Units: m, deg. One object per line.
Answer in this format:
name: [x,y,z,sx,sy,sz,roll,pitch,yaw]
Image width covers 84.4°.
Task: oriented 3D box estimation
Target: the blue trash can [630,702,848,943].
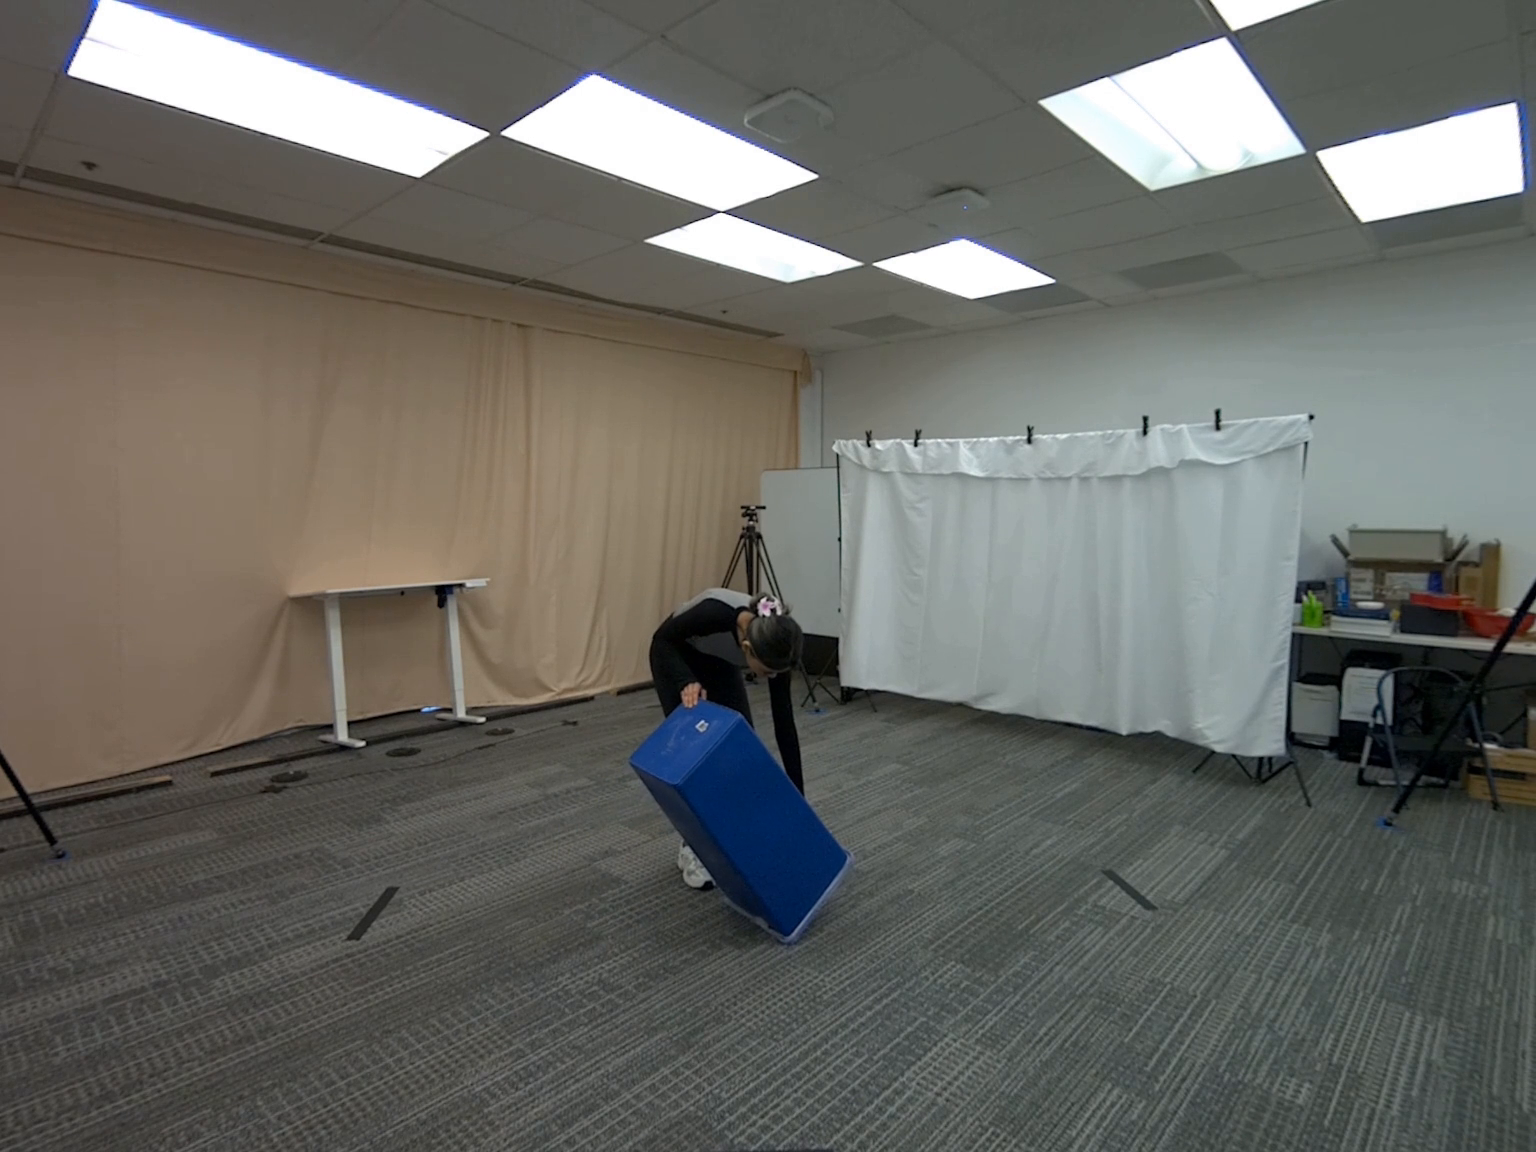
blue trash can: [-0.085,0.775,2.746,0.371,0.697,0.390,-43,25,-26]
